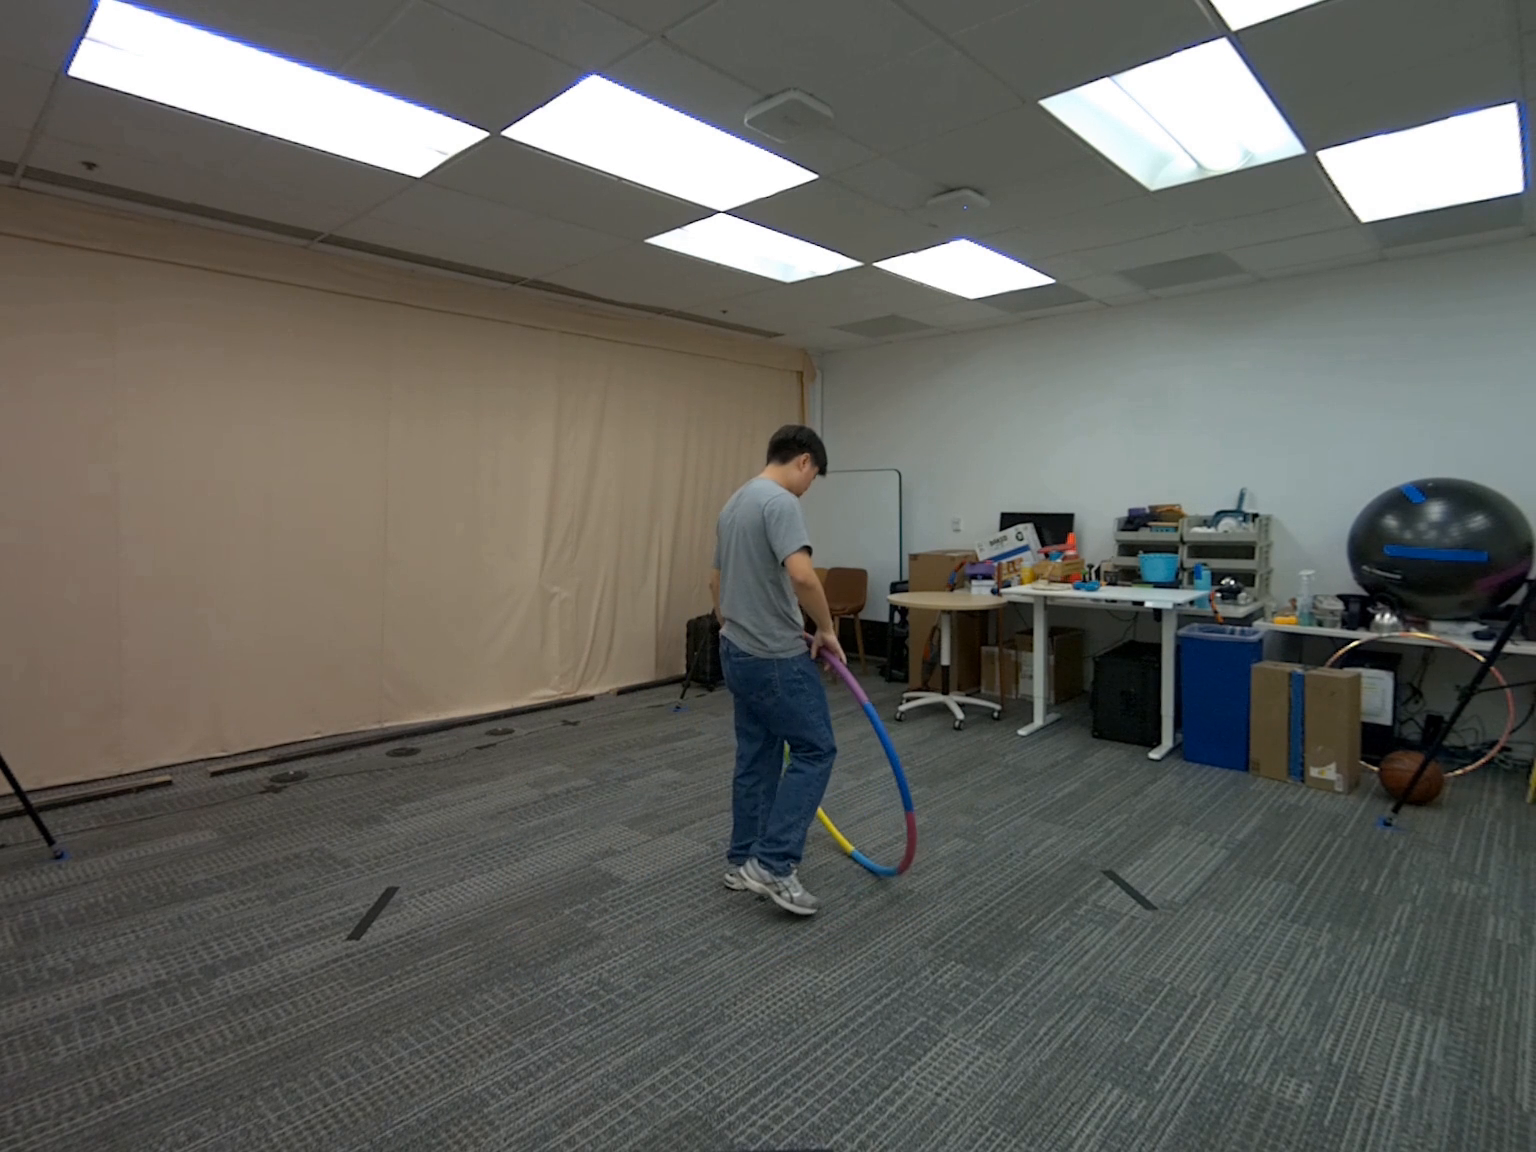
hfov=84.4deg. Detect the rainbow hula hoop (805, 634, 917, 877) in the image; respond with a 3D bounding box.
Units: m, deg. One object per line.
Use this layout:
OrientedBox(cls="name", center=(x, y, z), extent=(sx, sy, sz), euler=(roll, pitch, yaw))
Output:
OrientedBox(cls="rainbow hula hoop", center=(0.248, 0.662, 3.181), extent=(0.035, 0.969, 1.003), euler=(-21, 12, -22))
